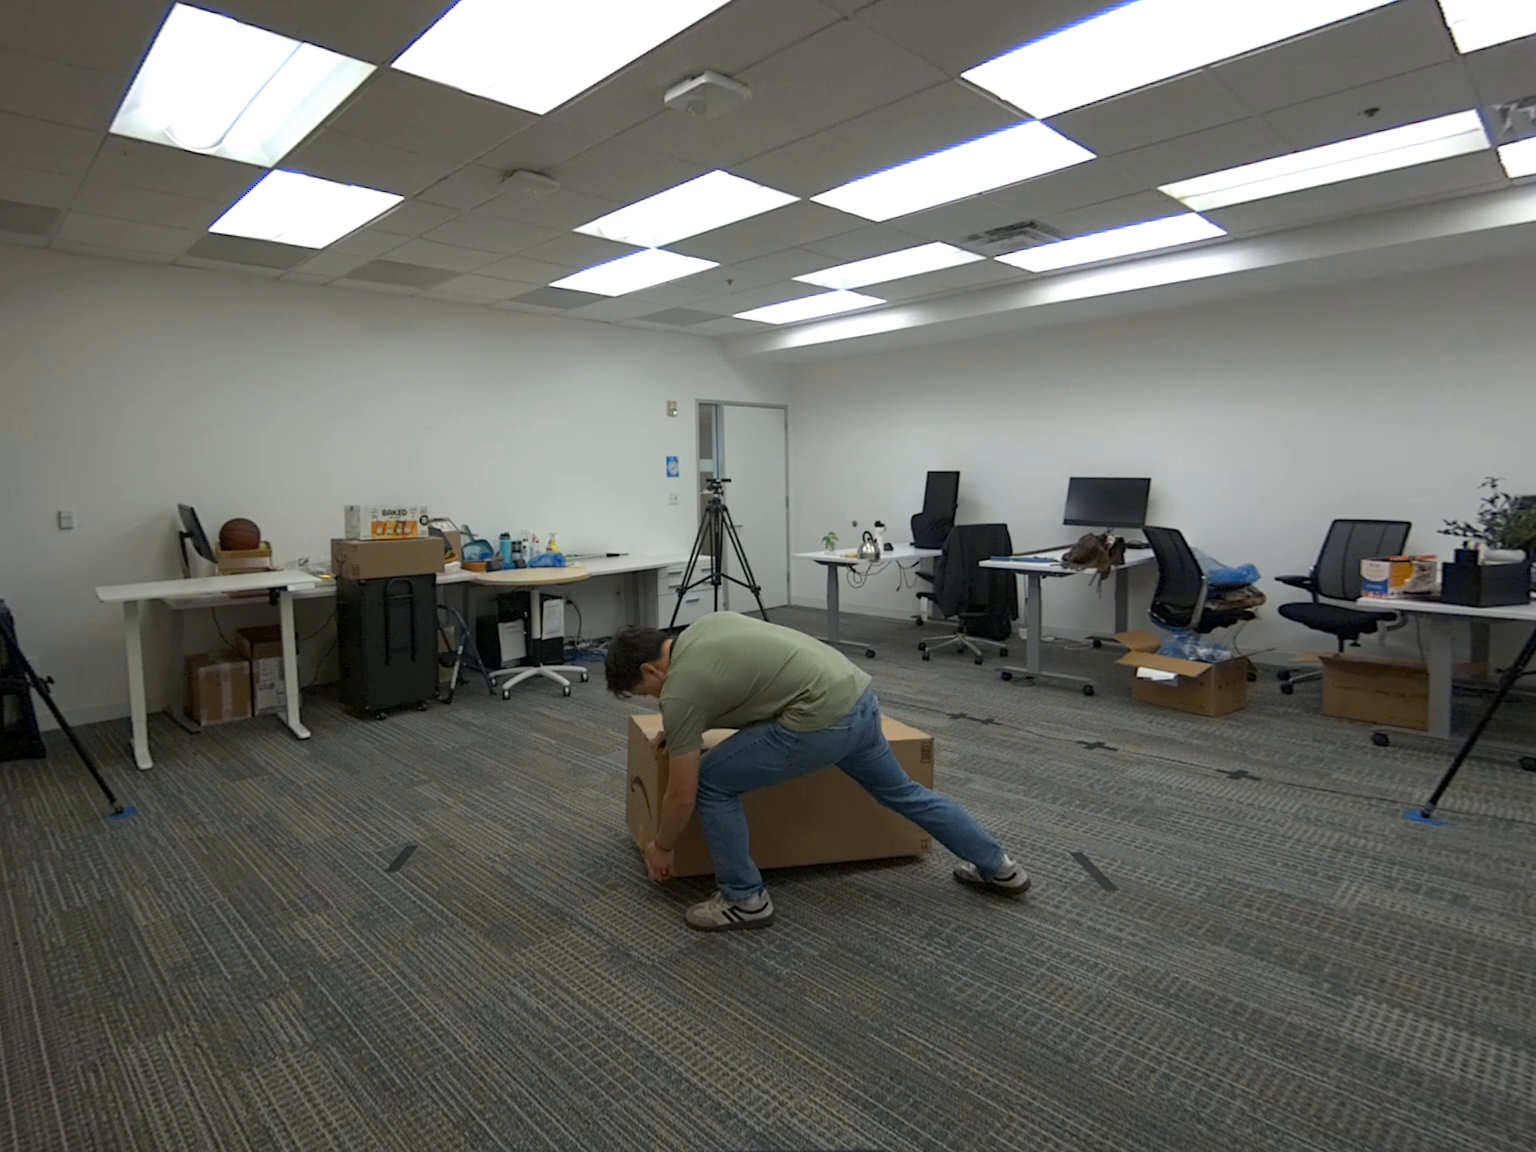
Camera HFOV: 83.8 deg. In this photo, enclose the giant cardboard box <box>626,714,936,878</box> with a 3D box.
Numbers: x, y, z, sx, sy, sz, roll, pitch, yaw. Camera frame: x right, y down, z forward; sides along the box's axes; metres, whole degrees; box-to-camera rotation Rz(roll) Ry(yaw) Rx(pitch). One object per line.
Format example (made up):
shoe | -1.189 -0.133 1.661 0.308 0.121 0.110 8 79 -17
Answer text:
giant cardboard box | 0.026 0.771 3.221 1.009 0.426 0.588 1 2 -17
